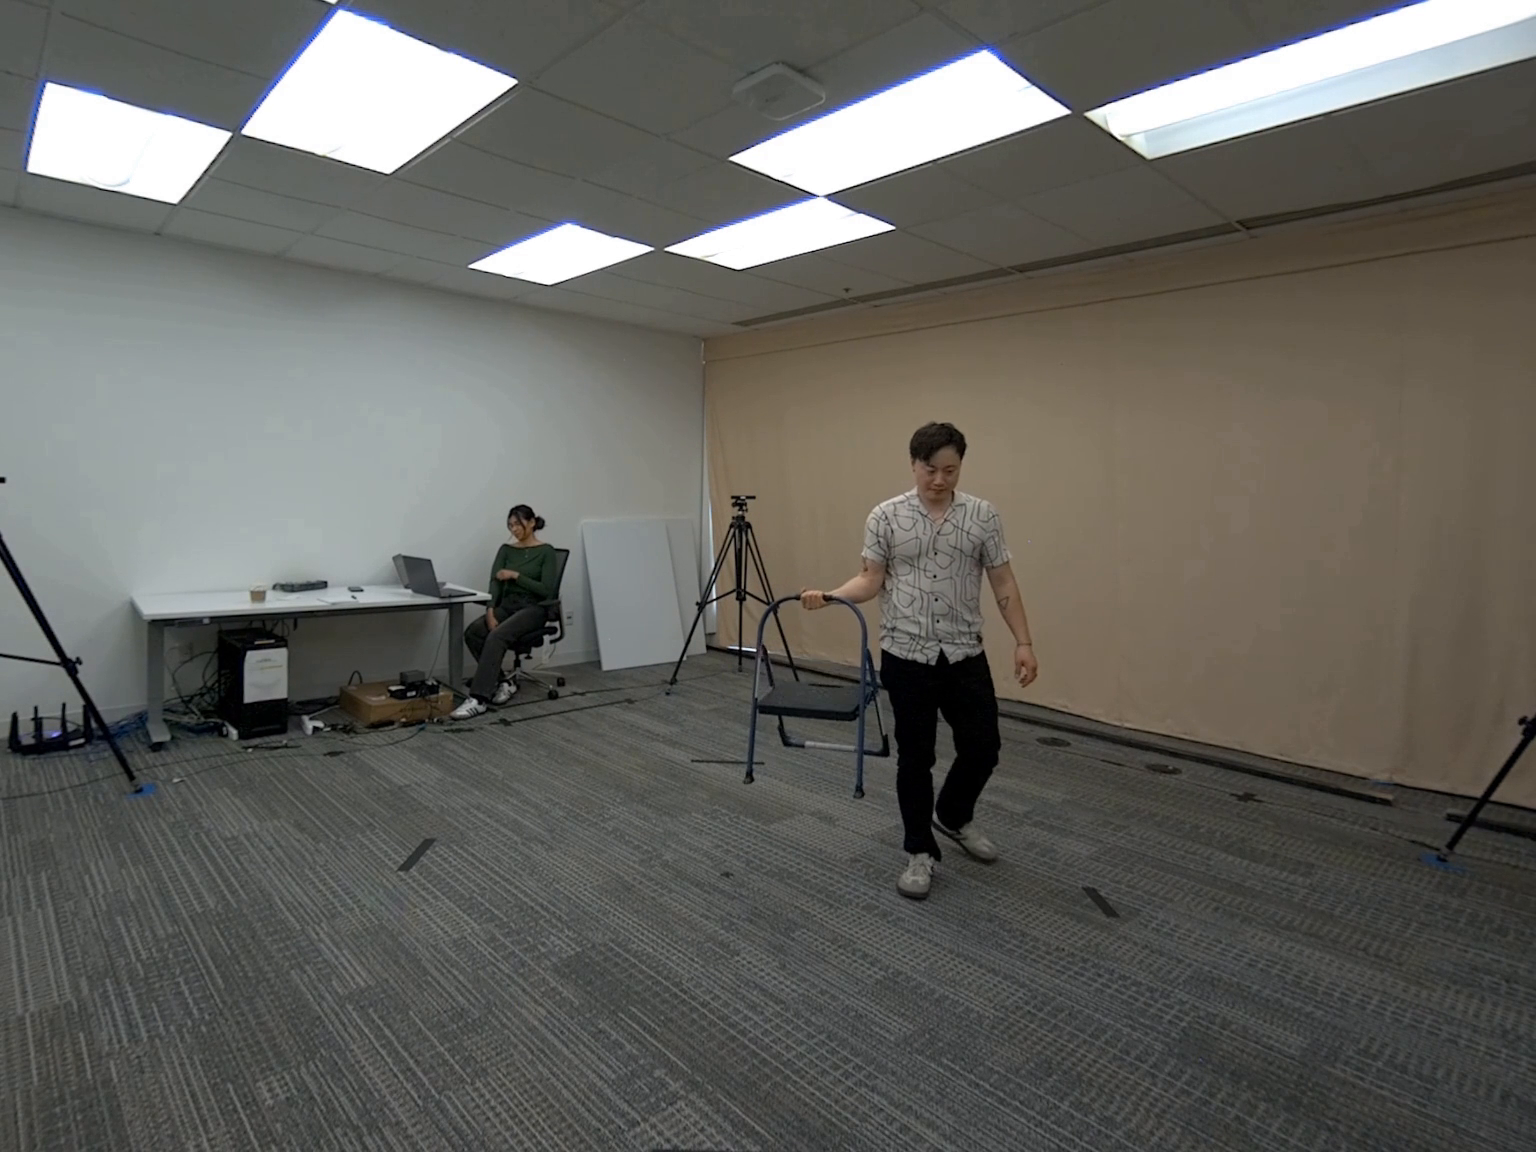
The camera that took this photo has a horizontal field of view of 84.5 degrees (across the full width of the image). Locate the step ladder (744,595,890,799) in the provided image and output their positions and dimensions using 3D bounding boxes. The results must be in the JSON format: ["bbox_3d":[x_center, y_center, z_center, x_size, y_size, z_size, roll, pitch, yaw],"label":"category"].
[{"bbox_3d":[0.150,0.386,2.891,0.438,0.601,0.345,0,11,25],"label":"step ladder"}]
